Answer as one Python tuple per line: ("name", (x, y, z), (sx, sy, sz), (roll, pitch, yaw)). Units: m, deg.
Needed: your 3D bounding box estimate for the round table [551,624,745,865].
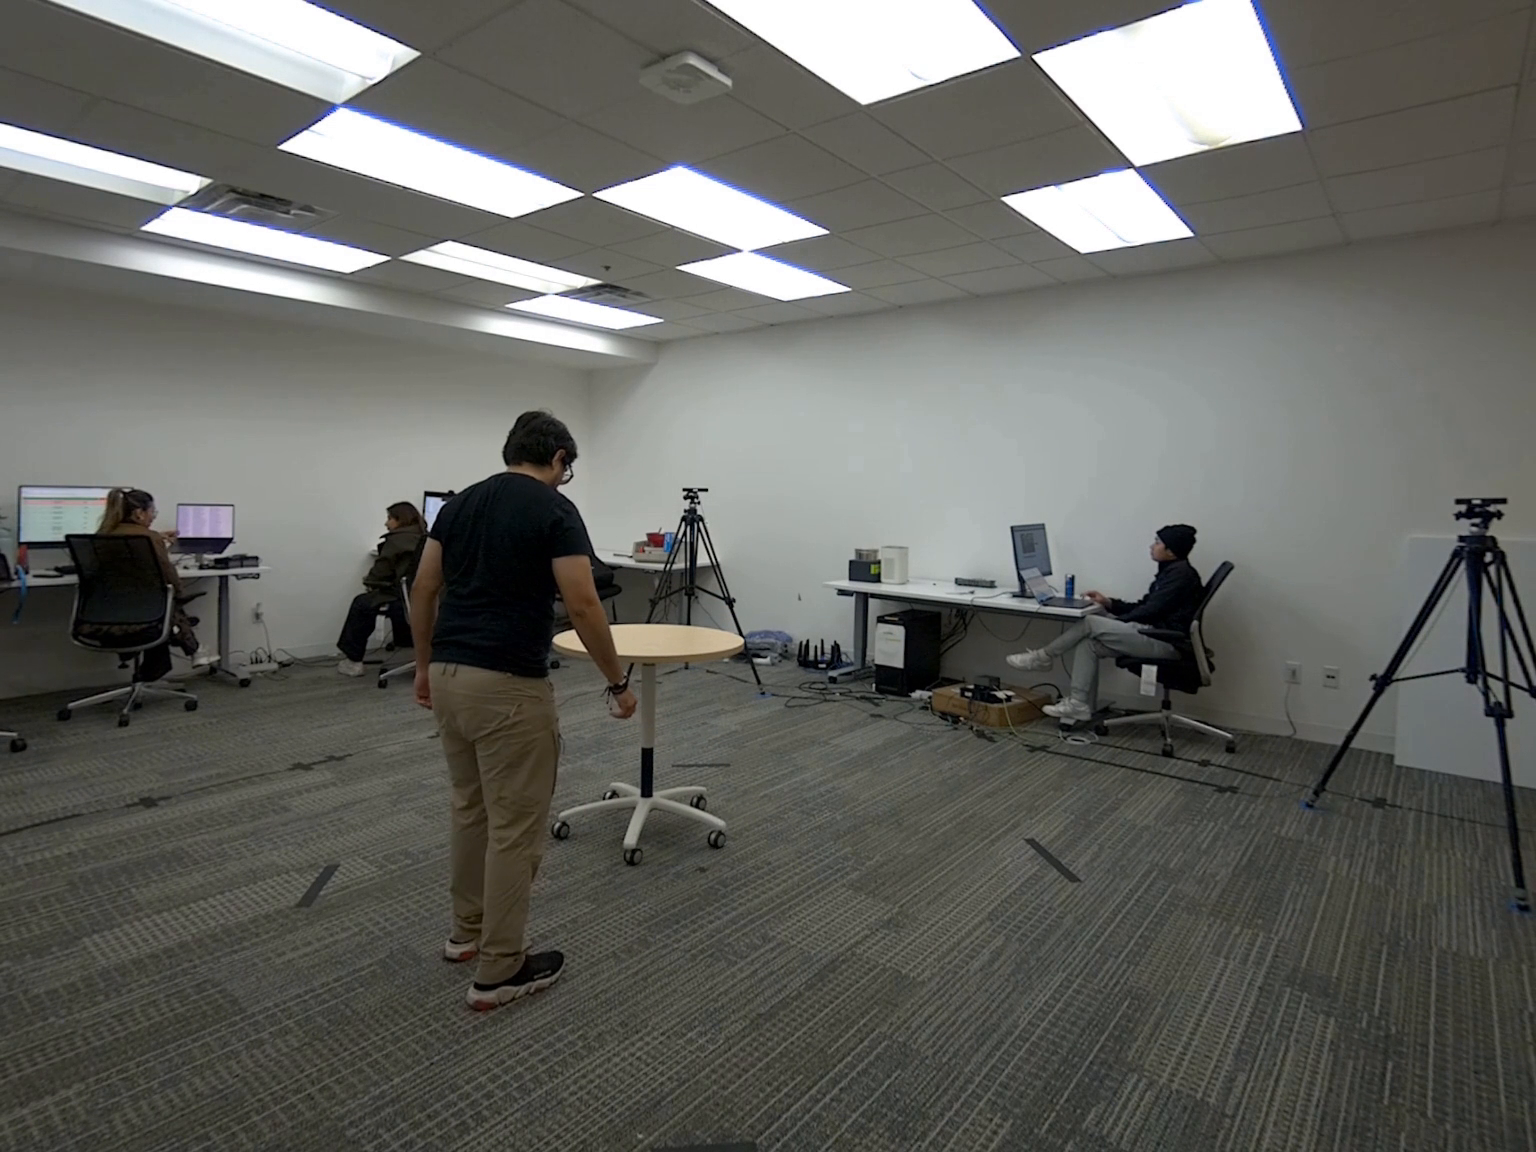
("round table", (-0.500, 0.639, 3.426), (0.784, 0.784, 0.788), (1, 4, -2))
